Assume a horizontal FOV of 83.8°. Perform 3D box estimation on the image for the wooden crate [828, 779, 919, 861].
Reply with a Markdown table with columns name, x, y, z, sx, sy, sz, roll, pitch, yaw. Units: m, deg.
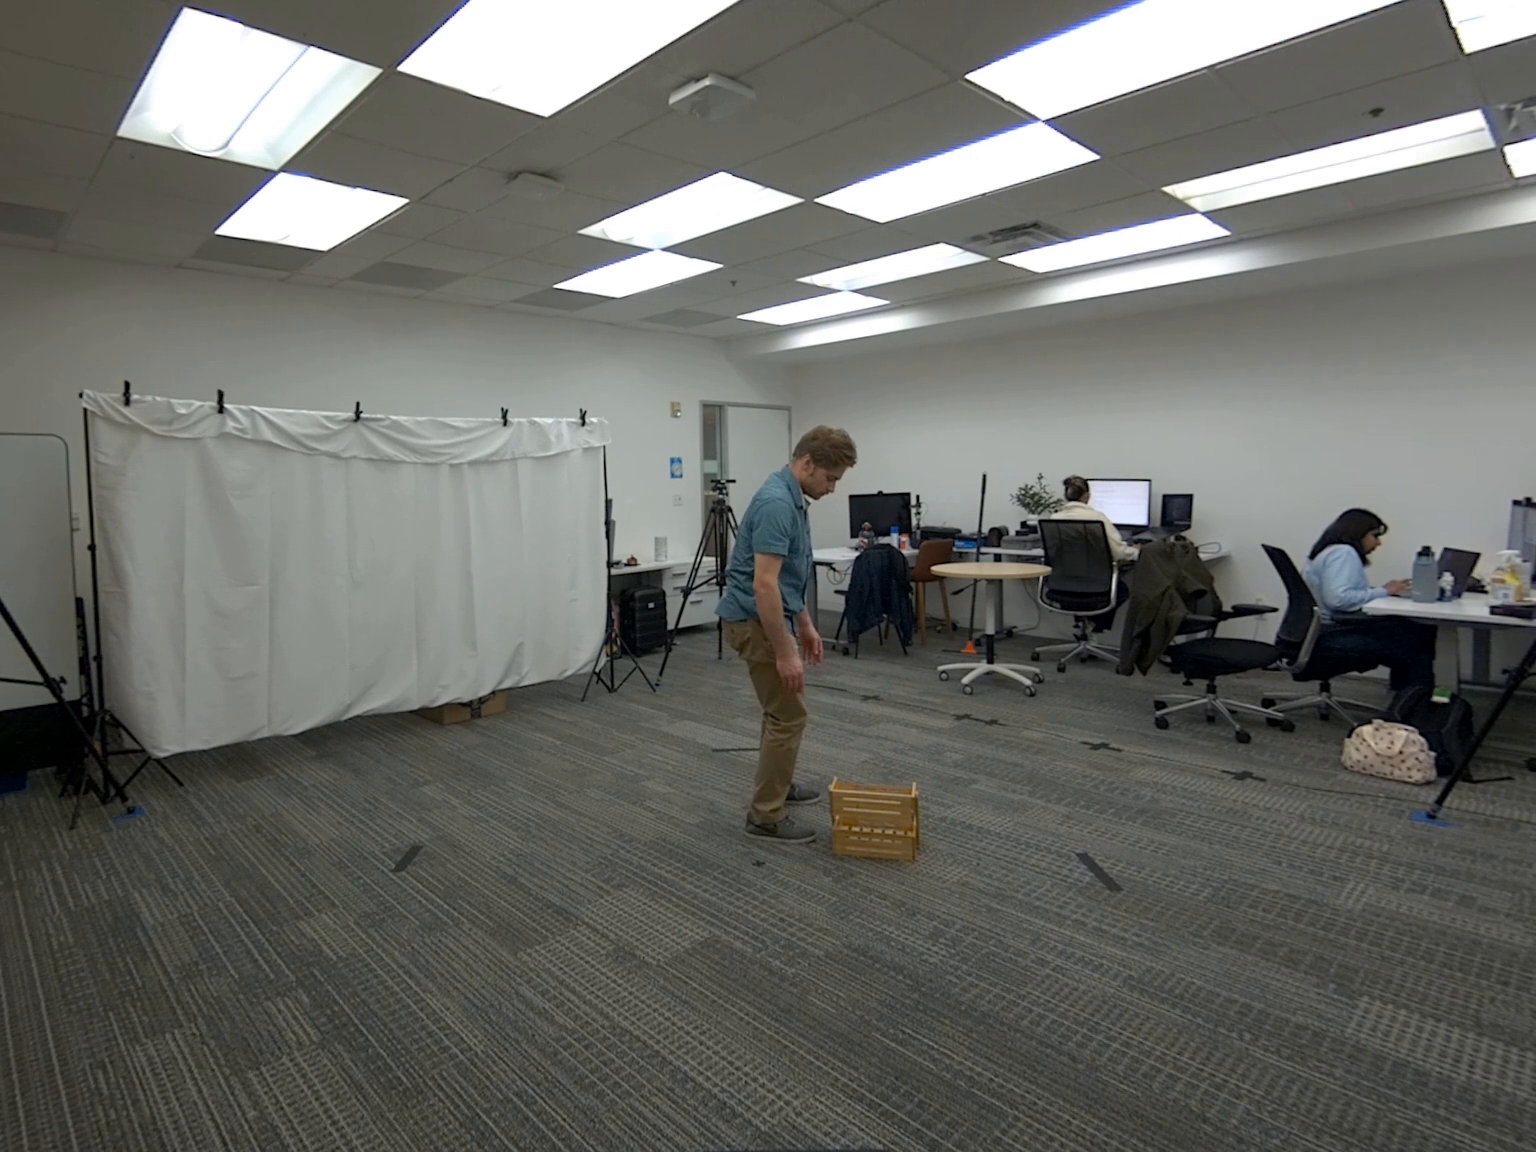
| name | x | y | z | sx | sy | sz | roll | pitch | yaw |
| --- | --- | --- | --- | --- | --- | --- | --- | --- | --- |
| wooden crate | 0.410 | 0.892 | 3.236 | 0.329 | 0.272 | 0.299 | 0 | 5 | 13 |
